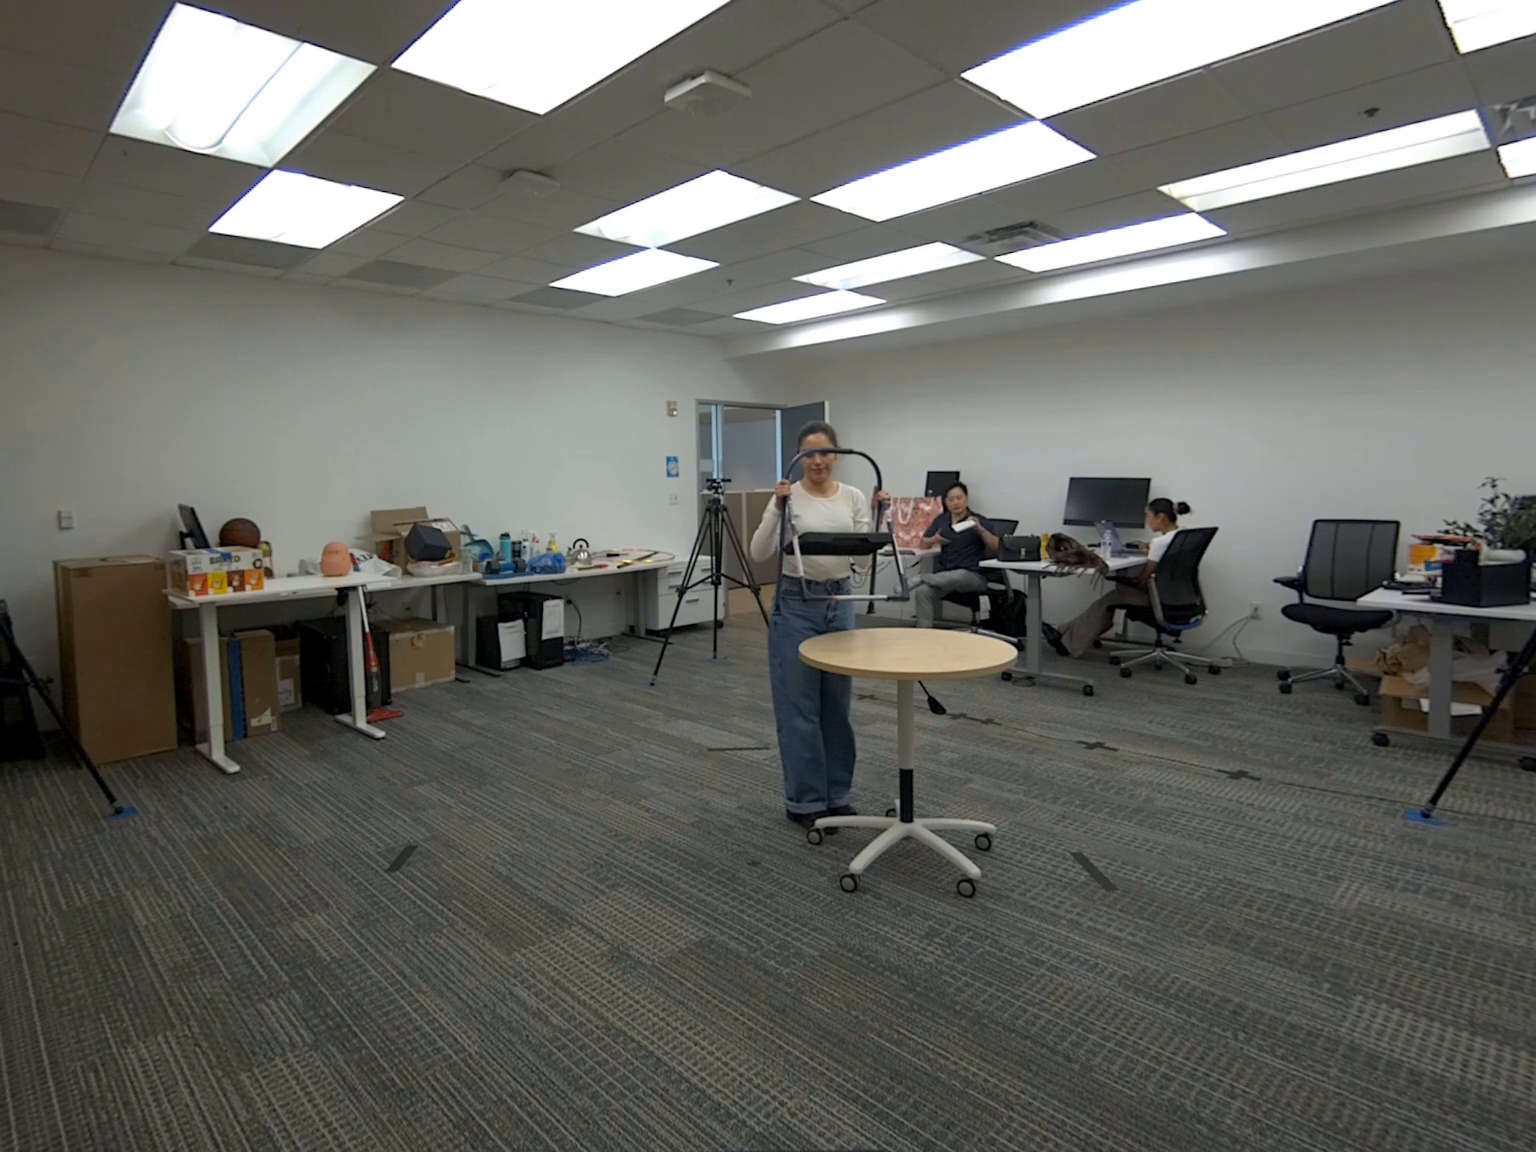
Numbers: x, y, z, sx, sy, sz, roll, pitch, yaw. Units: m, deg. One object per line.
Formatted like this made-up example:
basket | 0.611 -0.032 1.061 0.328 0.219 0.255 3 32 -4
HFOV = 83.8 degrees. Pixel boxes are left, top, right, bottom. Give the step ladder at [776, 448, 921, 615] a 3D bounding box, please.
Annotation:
step ladder | 0.245 -0.178 3.274 0.424 0.613 0.351 0 -12 -17
